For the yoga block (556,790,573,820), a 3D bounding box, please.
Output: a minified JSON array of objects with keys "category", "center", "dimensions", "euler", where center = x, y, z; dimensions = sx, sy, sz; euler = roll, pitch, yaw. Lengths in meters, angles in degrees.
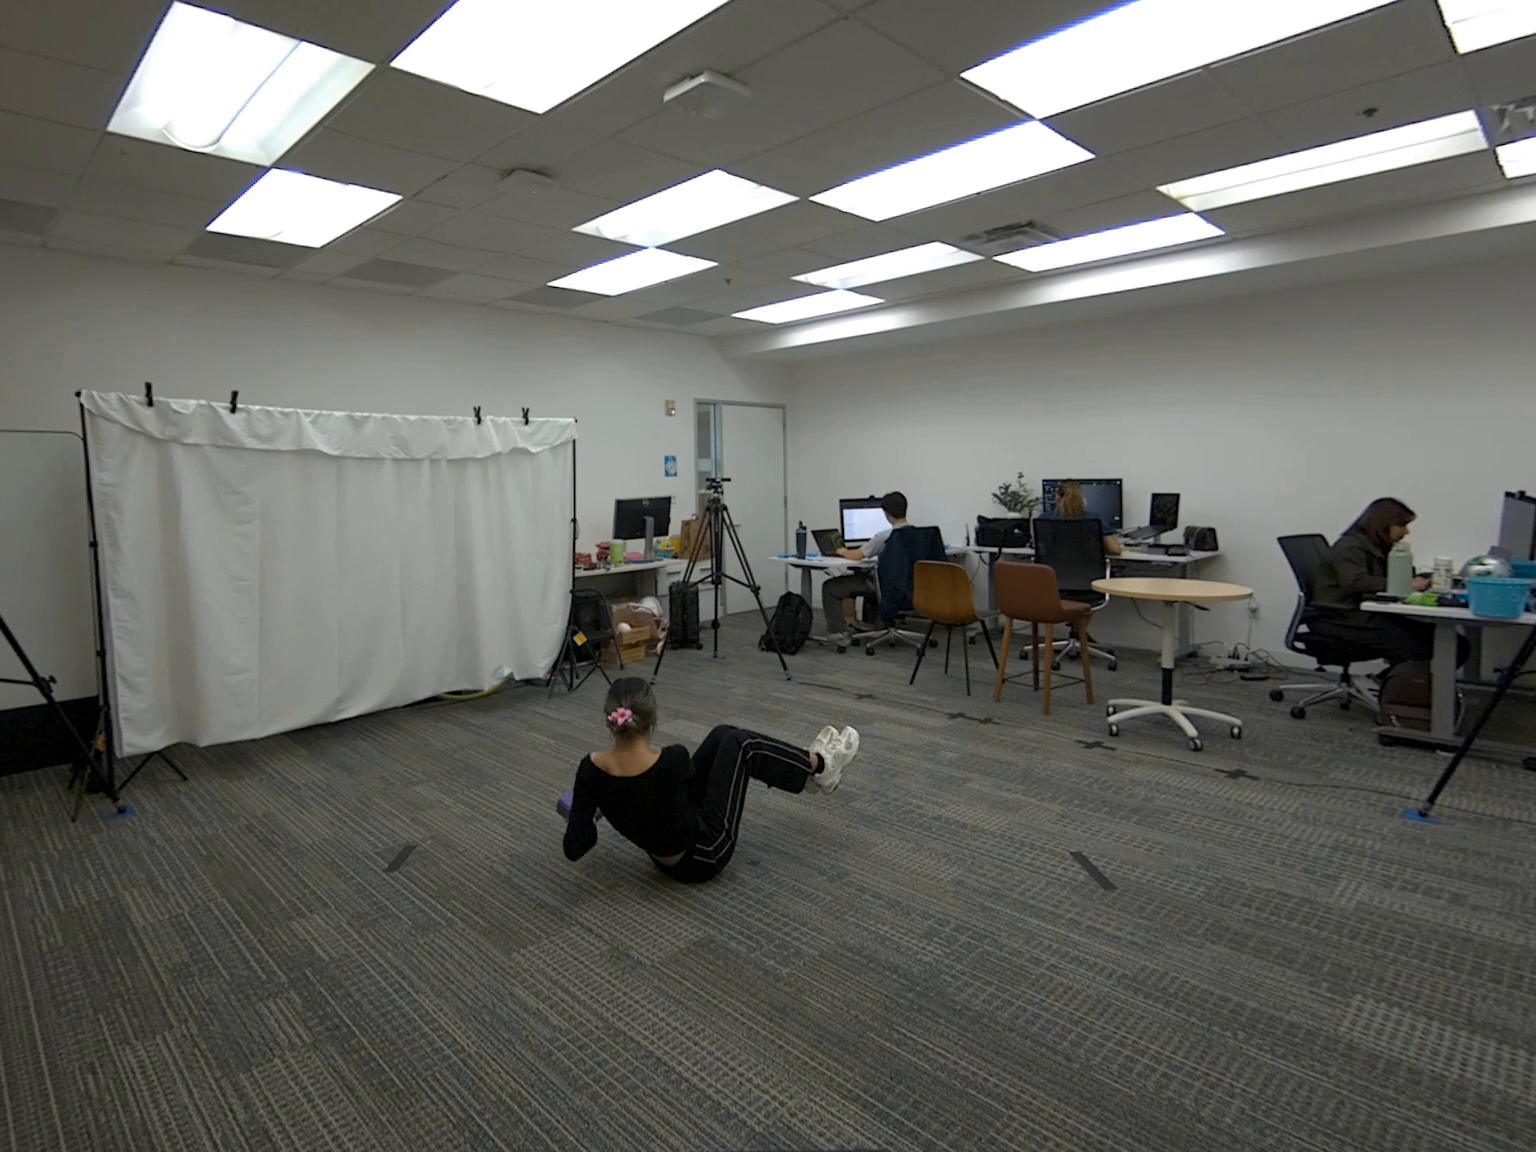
[{"category":"yoga block","center":[-0.663,0.832,3.198],"dimensions":[0.153,0.075,0.226],"euler":[32,37,24]}]
